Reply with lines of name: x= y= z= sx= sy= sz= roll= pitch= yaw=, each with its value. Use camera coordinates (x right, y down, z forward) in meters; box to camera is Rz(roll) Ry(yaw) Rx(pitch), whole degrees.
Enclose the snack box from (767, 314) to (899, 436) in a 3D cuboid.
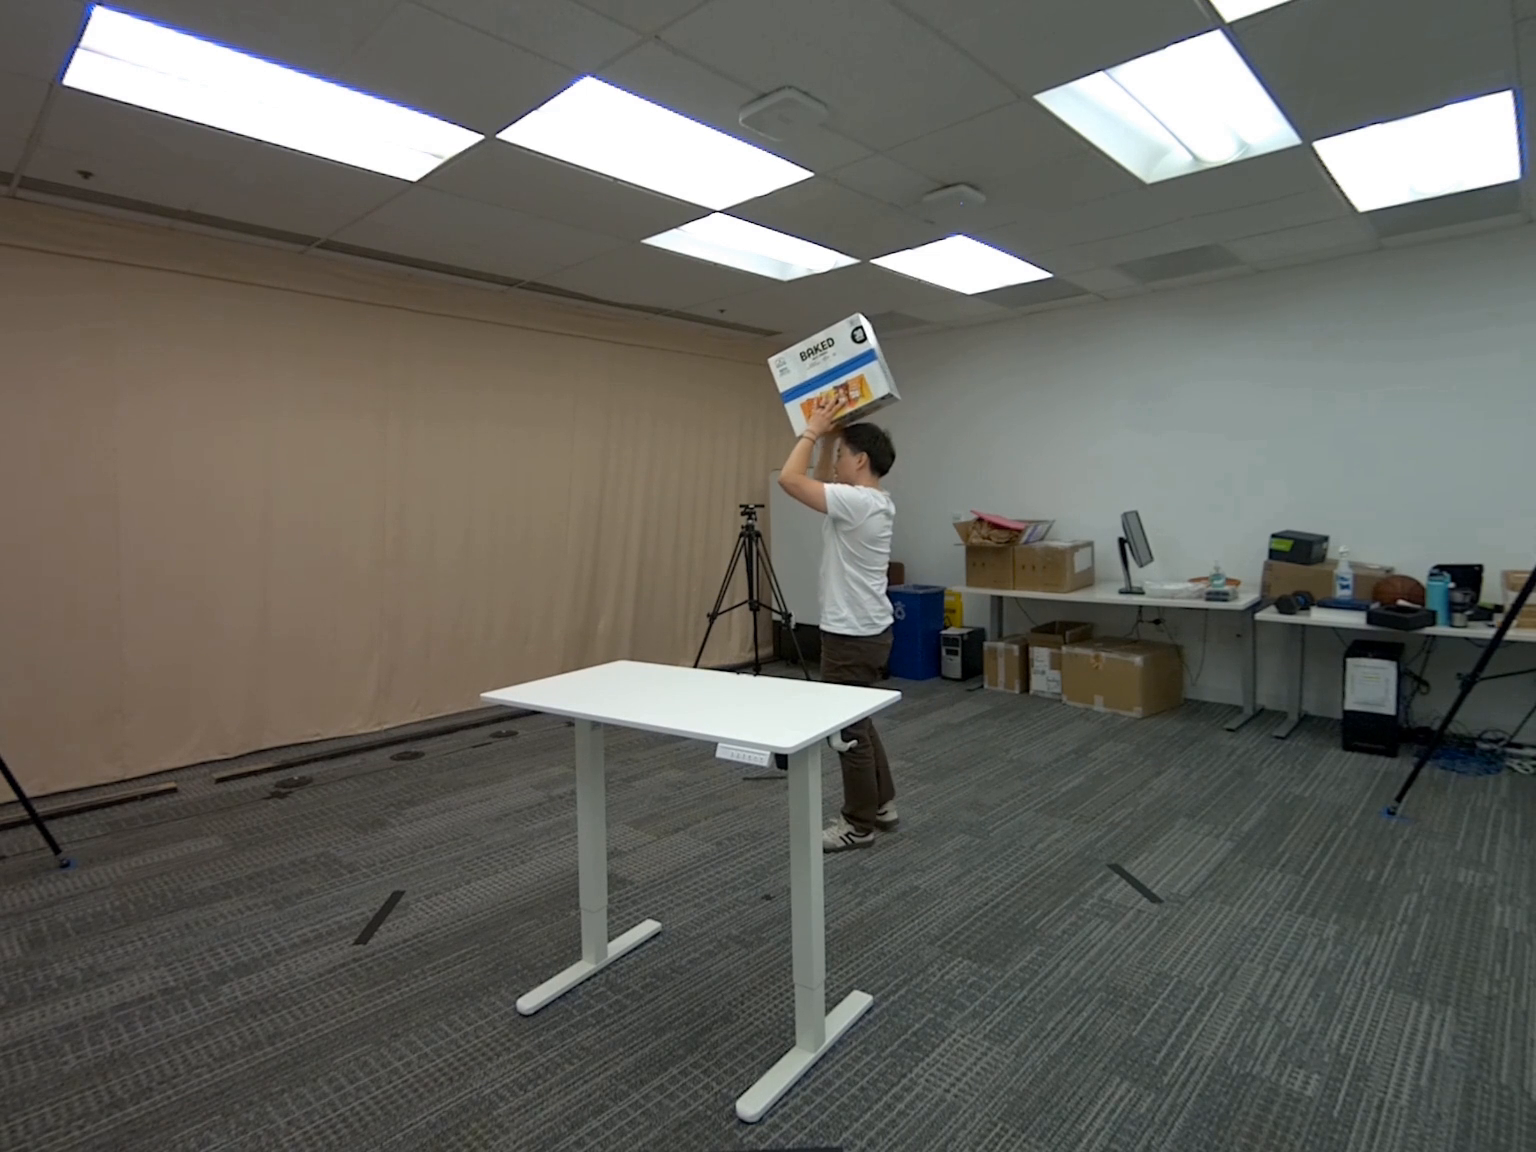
snack box: x=0.270 y=-0.779 z=3.356 sx=0.411 sy=0.343 sz=0.201 roll=-22 pitch=-8 yaw=22
